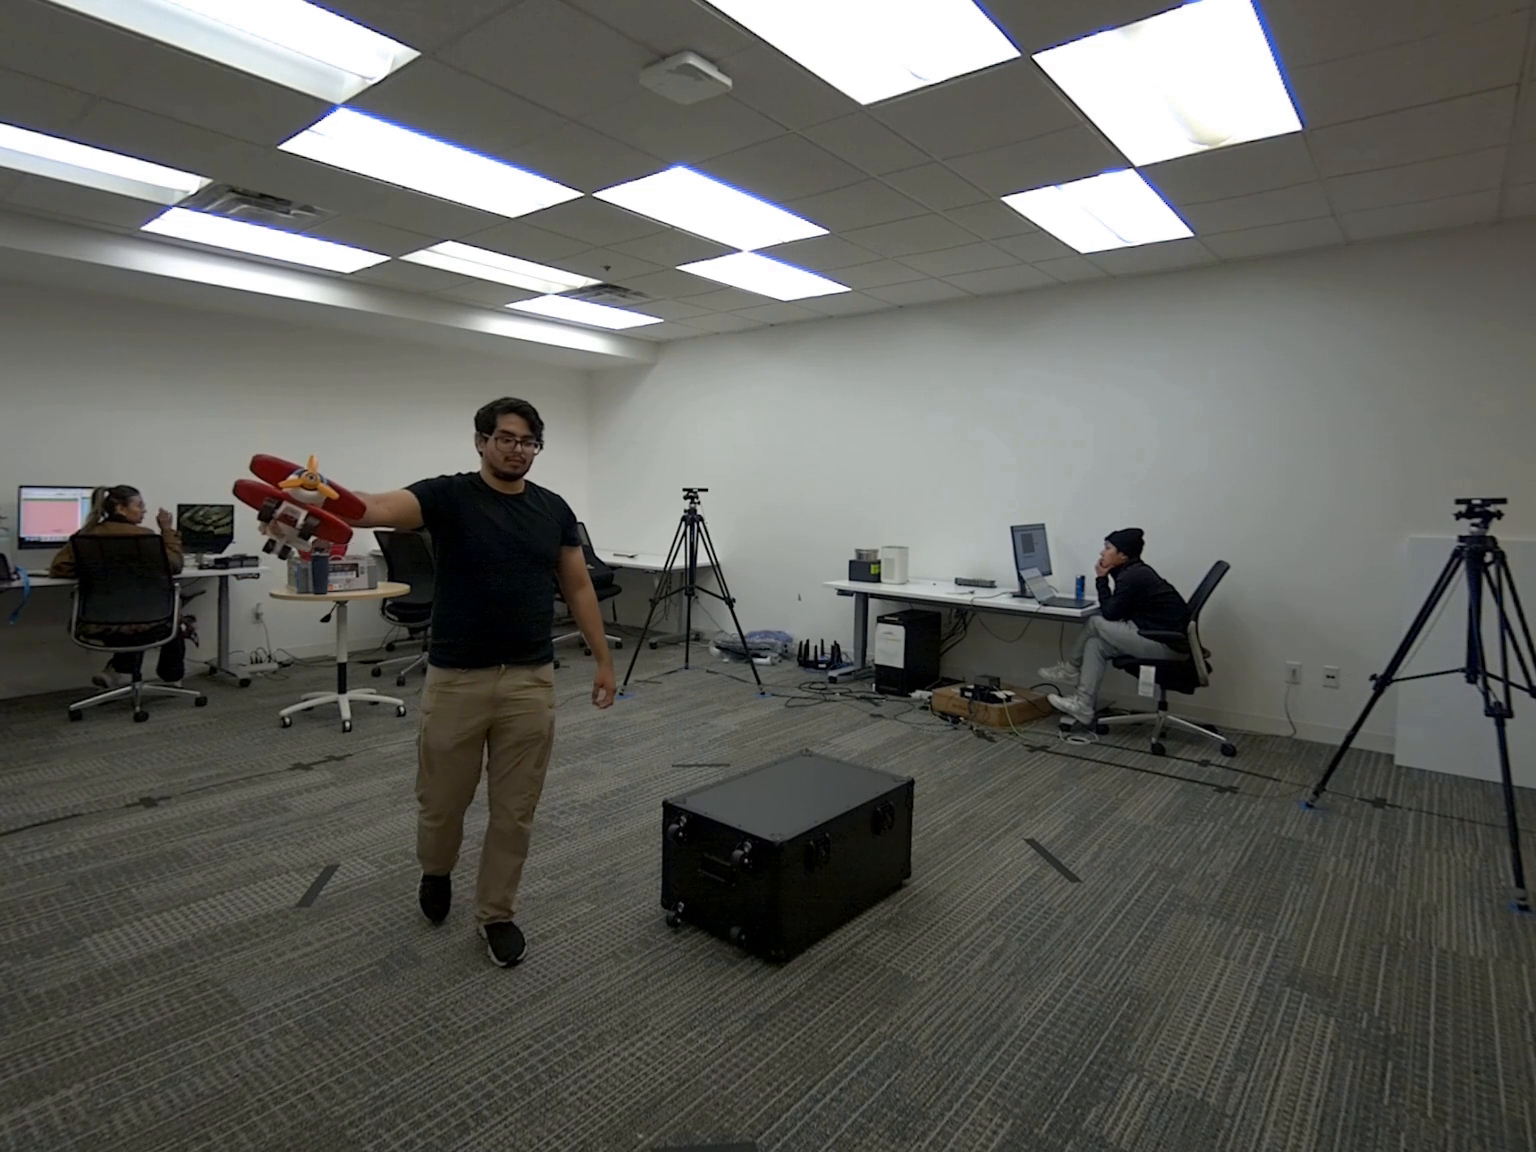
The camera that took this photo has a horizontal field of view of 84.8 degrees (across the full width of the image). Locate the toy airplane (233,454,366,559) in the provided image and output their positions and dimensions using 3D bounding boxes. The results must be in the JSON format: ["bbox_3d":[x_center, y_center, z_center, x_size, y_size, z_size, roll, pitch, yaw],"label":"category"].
[{"bbox_3d":[-1.073,-0.147,1.879,0.266,0.159,0.240,-4,-34,31],"label":"toy airplane"}]
